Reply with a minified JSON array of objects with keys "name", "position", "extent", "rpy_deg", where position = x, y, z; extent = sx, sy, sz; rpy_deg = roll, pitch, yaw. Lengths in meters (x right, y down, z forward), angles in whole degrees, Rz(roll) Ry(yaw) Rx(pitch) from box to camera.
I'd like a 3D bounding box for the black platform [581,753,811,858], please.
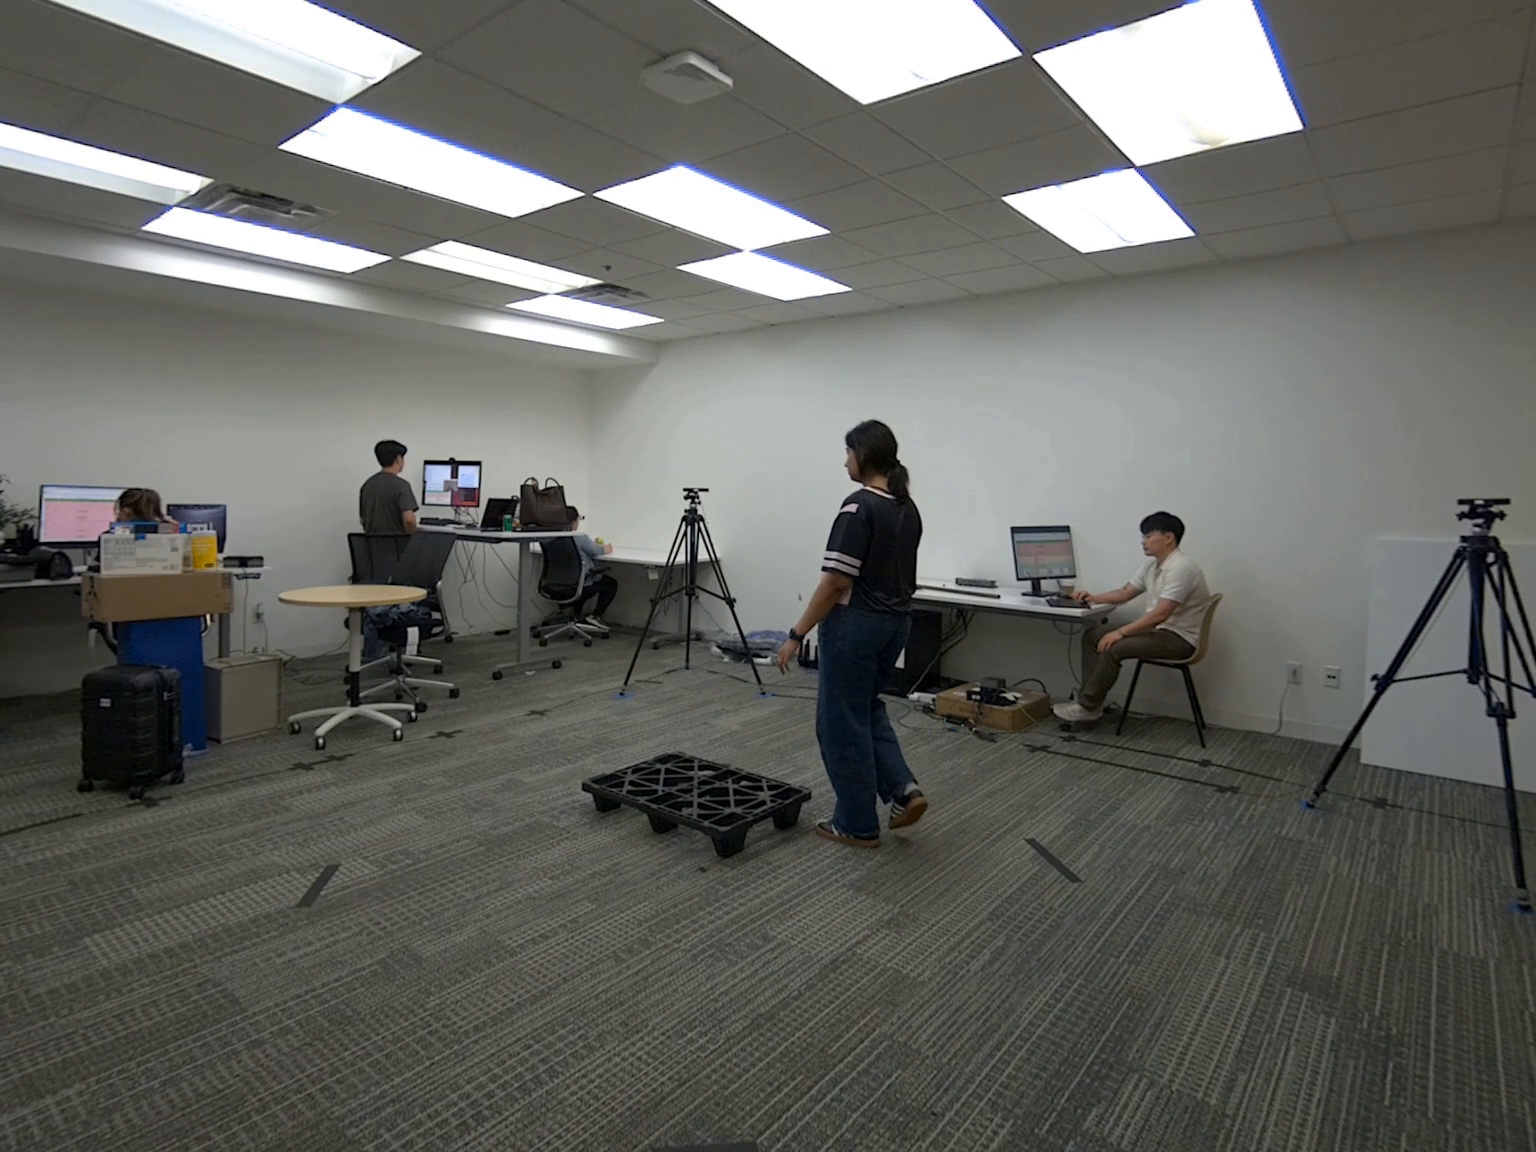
[{"name":"black platform","position":[-0.318,0.954,3.604],"extent":[0.832,0.143,0.588],"rpy_deg":[5,7,38]}]
